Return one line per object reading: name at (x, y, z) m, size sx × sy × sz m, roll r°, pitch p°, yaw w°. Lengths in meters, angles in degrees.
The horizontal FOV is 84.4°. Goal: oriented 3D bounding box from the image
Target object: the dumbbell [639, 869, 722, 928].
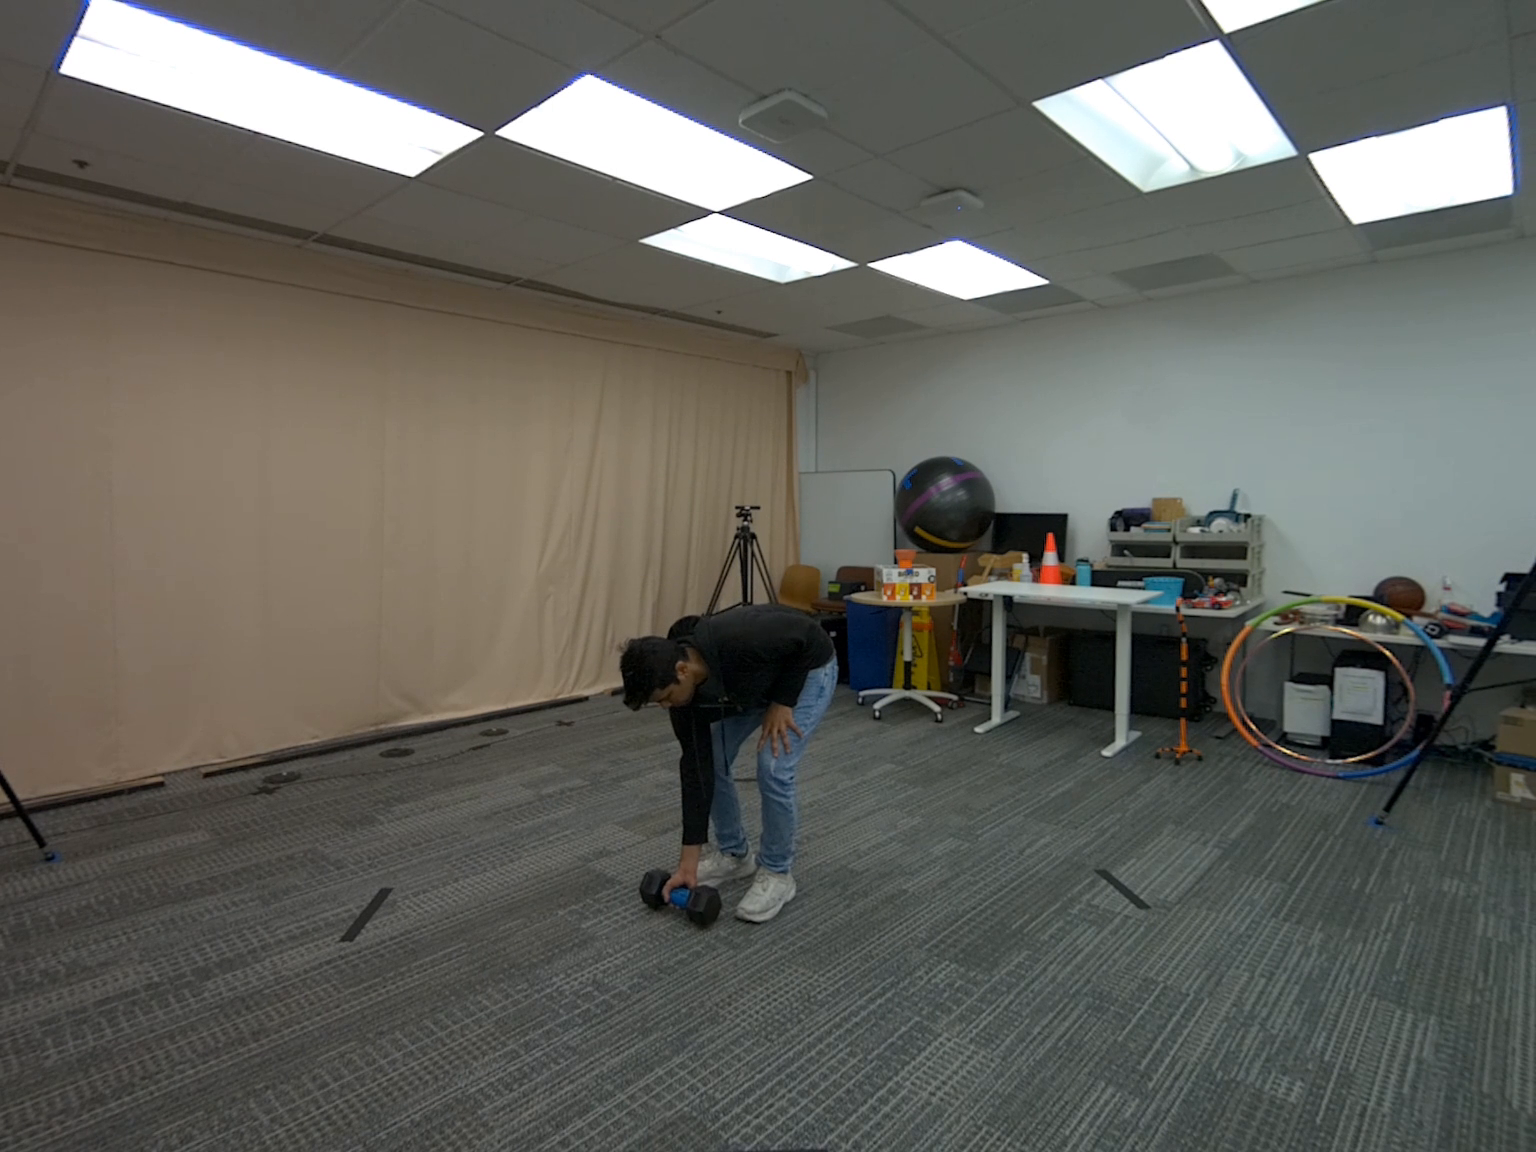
dumbbell at (-0.296, 1.084, 2.851) m, size 0.303 × 0.121 × 0.107 m, roll 3°, pitch 25°, yaw 38°
